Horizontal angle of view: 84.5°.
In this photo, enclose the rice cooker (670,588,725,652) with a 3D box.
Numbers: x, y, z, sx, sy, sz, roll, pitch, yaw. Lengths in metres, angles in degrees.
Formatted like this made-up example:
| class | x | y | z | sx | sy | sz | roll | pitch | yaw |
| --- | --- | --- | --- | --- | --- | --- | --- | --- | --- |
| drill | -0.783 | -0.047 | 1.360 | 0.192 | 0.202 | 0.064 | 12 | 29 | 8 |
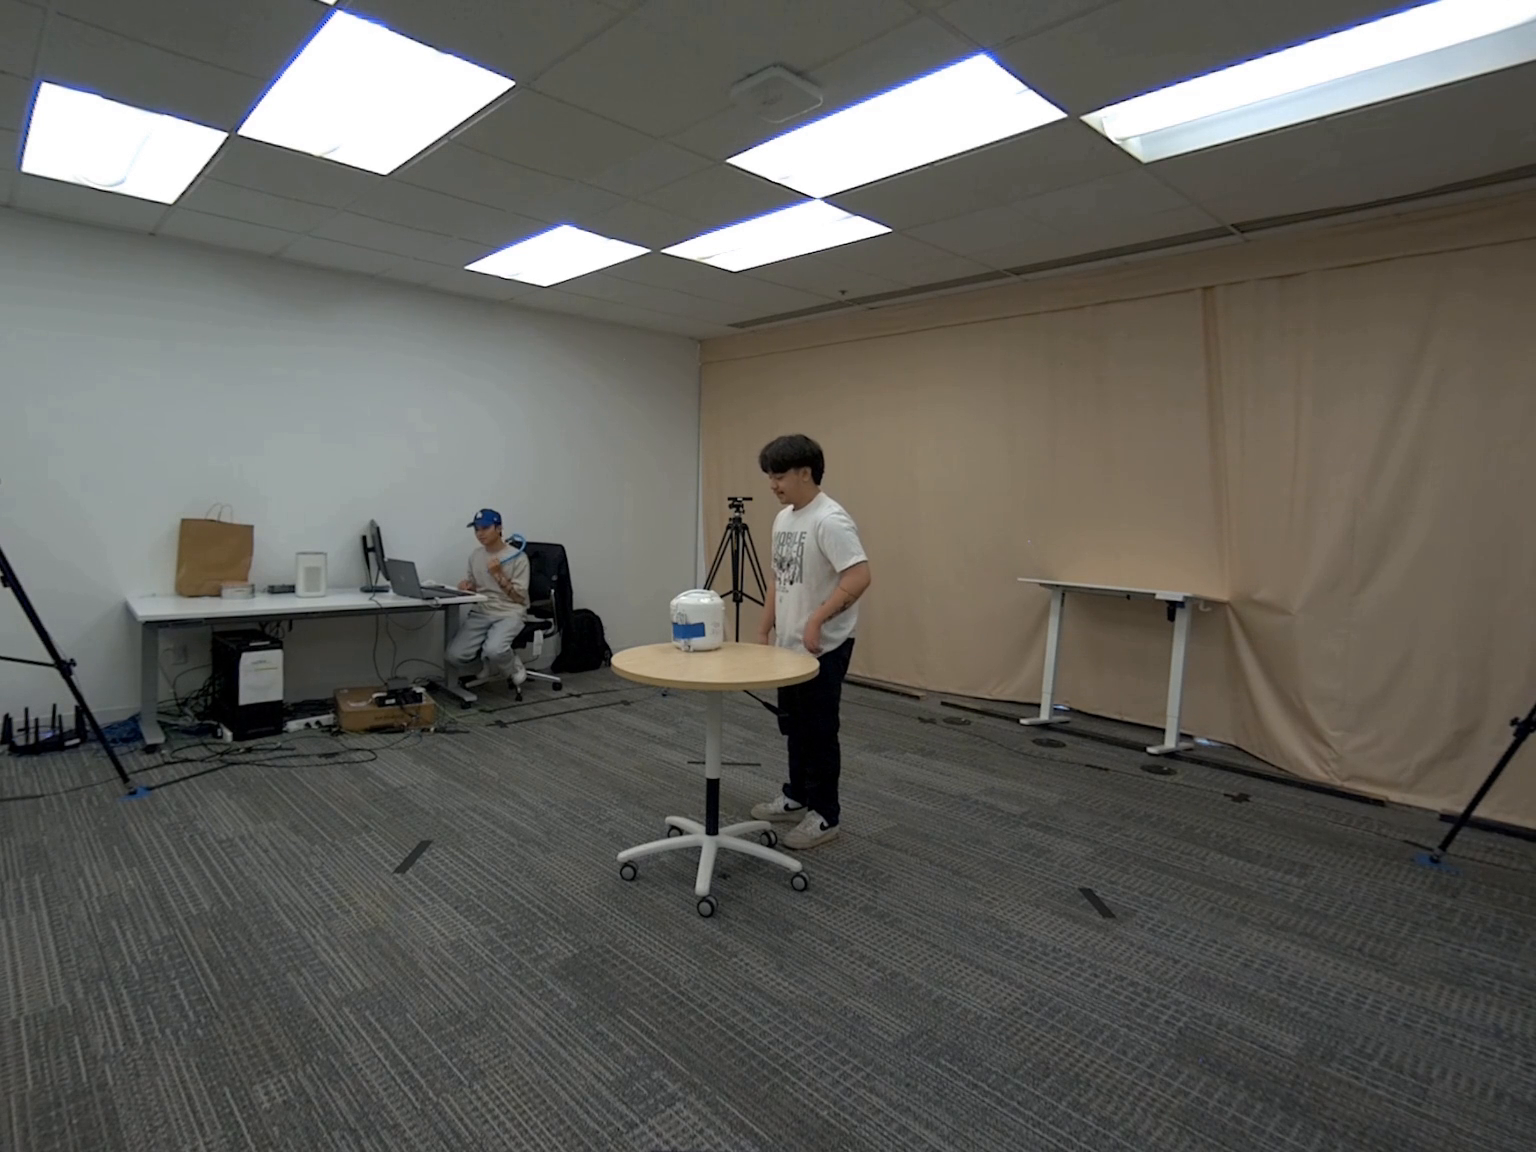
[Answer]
| class | x | y | z | sx | sy | sz | roll | pitch | yaw |
| --- | --- | --- | --- | --- | --- | --- | --- | --- | --- |
| rice cooker | -0.288 | 0.170 | 3.338 | 0.217 | 0.232 | 0.221 | 1 | 4 | -22 |
